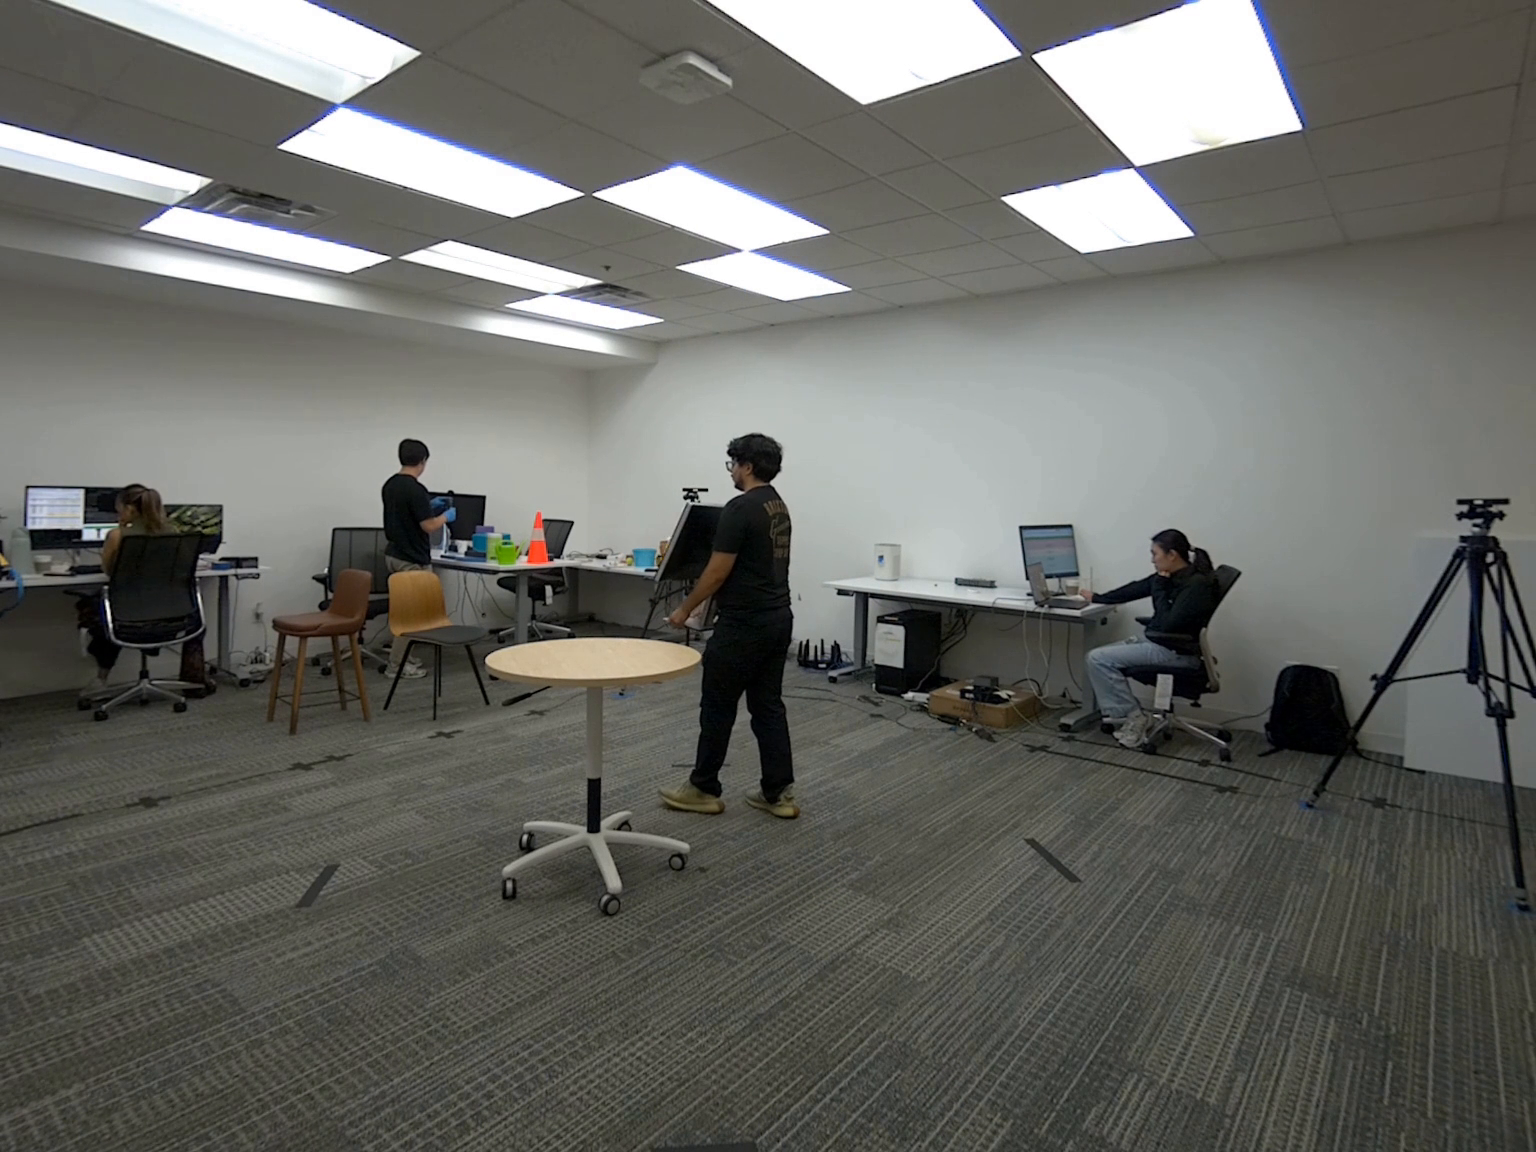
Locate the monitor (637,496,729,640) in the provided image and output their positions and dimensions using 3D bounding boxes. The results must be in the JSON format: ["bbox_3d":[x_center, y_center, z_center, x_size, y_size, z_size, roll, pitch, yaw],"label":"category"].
[{"bbox_3d":[-0.264,-0.047,3.741,0.216,0.551,0.551,23,10,22],"label":"monitor"}]
